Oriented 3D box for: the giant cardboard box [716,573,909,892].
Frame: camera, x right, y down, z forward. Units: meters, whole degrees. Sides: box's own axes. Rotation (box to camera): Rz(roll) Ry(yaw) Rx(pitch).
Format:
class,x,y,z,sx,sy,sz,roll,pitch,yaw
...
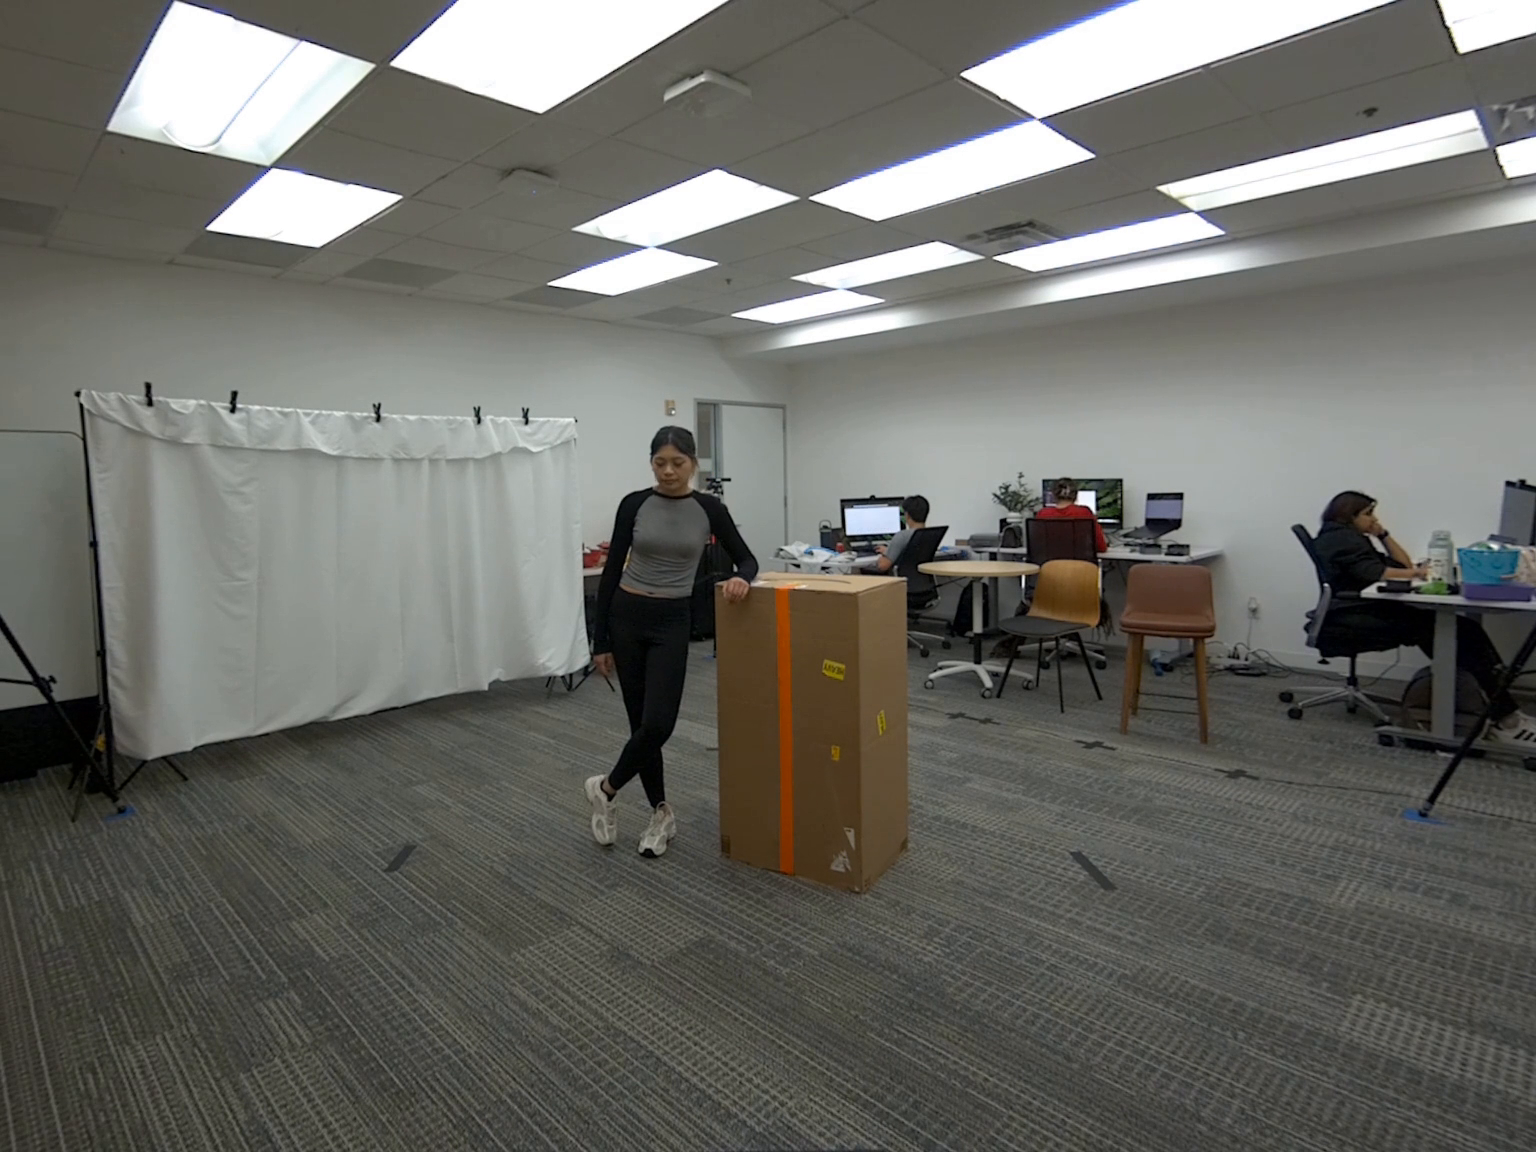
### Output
class,x,y,z,sx,sy,sz,roll,pitch,yaw
giant cardboard box,0.170,0.524,3.151,0.593,1.022,0.416,1,5,34
